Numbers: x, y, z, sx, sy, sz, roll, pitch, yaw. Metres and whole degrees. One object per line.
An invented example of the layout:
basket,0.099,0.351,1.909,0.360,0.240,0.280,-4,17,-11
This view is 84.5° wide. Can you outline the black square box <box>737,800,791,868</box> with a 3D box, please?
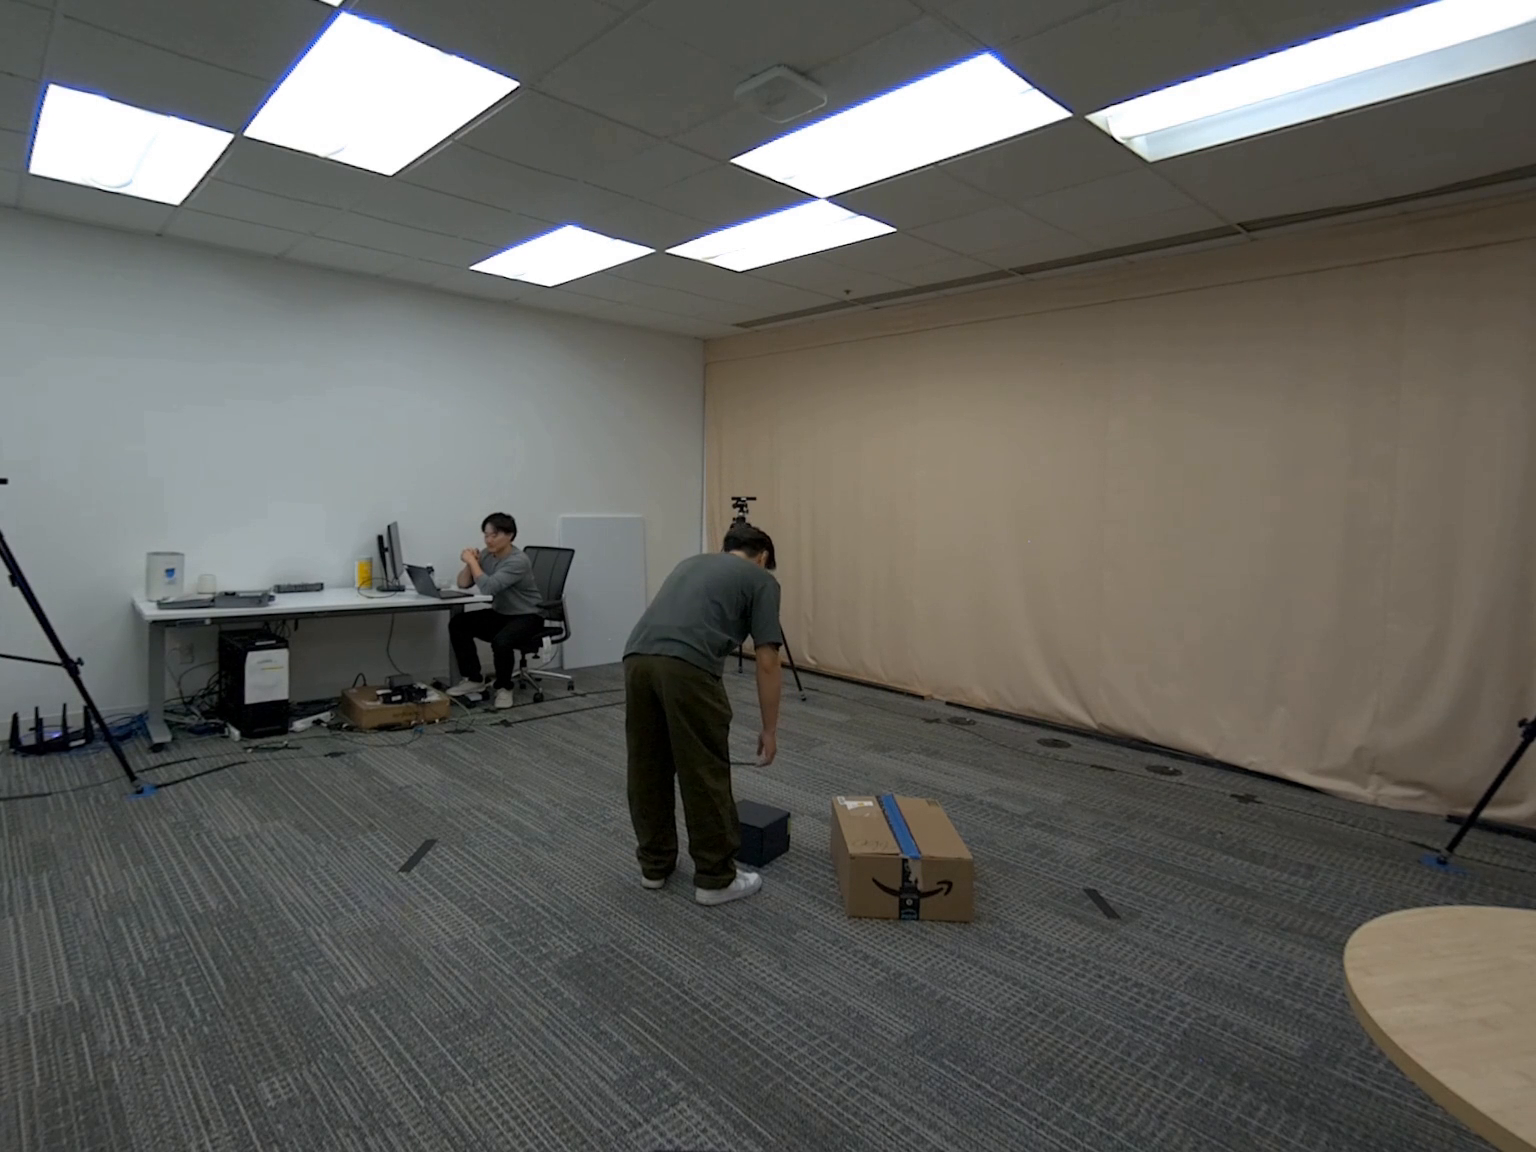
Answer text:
black square box,-0.070,1.005,3.314,0.233,0.155,0.212,5,5,33
